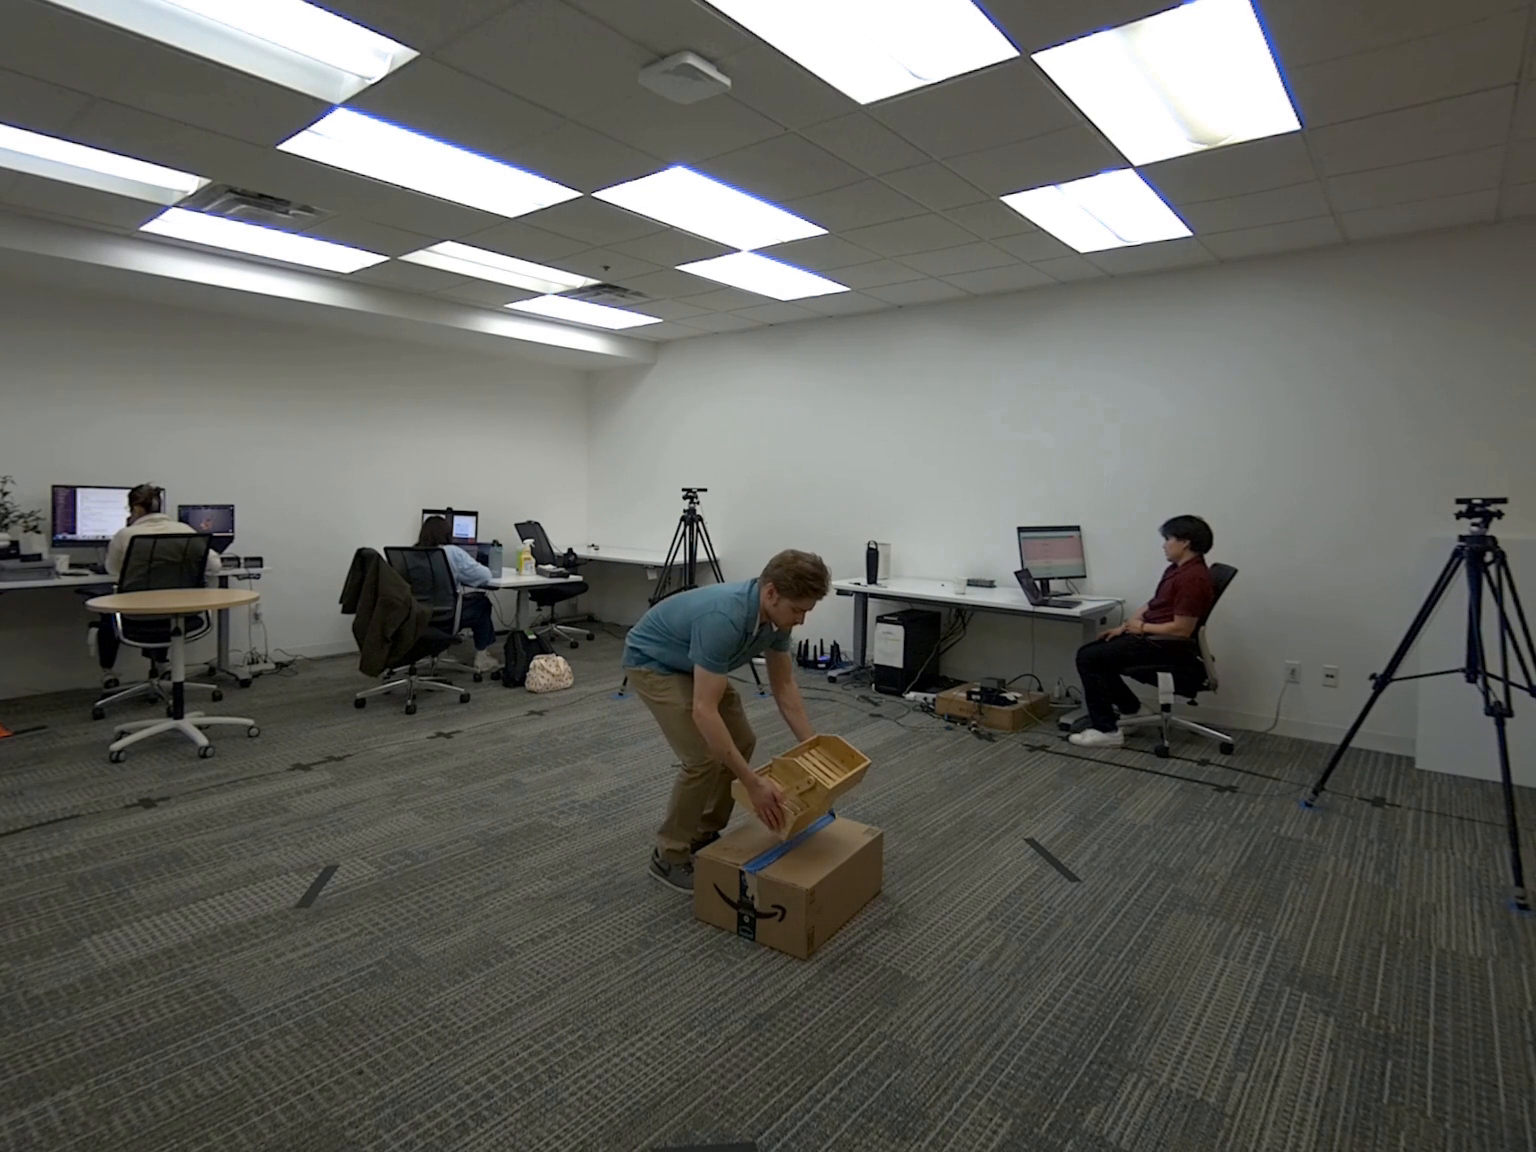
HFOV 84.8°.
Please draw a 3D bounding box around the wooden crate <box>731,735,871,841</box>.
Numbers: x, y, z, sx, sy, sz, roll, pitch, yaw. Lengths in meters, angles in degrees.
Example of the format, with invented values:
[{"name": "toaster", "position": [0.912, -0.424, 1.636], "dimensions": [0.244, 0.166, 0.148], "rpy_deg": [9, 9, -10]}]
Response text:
[{"name": "wooden crate", "position": [0.100, 0.660, 2.844], "dimensions": [0.313, 0.271, 0.316], "rpy_deg": [34, 23, 27]}]
